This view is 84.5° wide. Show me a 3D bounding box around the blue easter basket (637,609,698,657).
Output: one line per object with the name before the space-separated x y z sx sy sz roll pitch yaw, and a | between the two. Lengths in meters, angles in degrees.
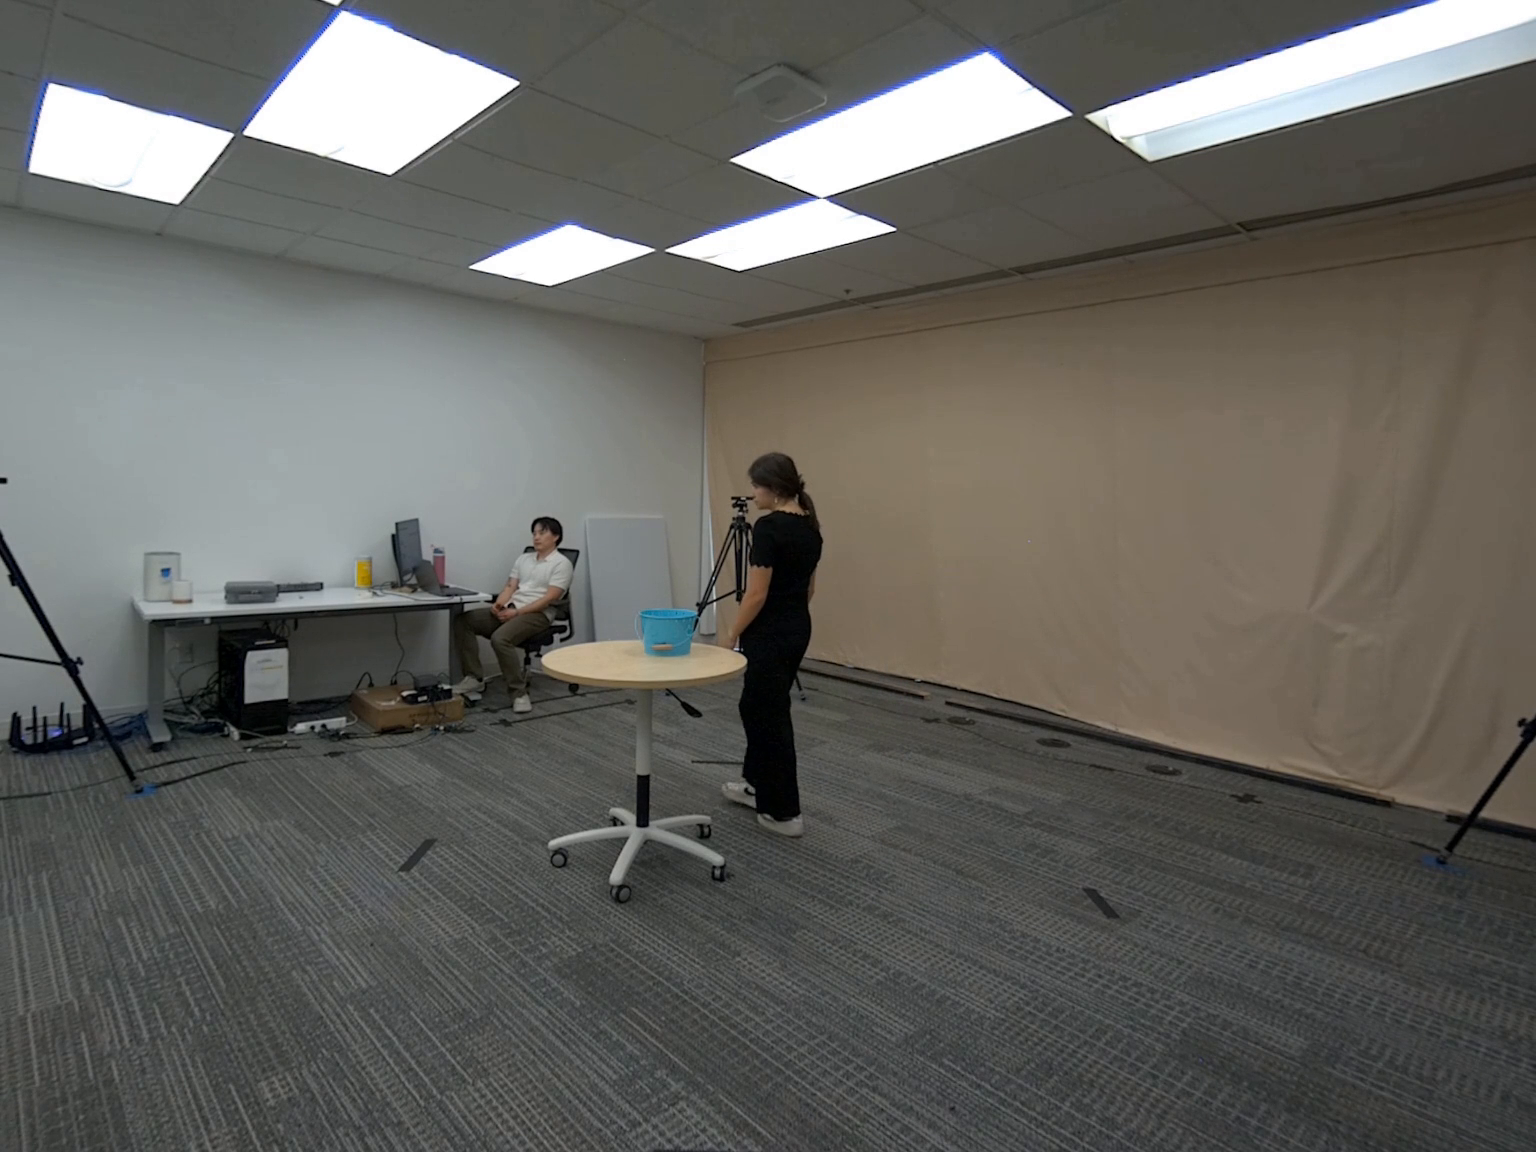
blue easter basket | -0.412 0.224 3.298 0.243 0.155 0.244 3 5 -2
